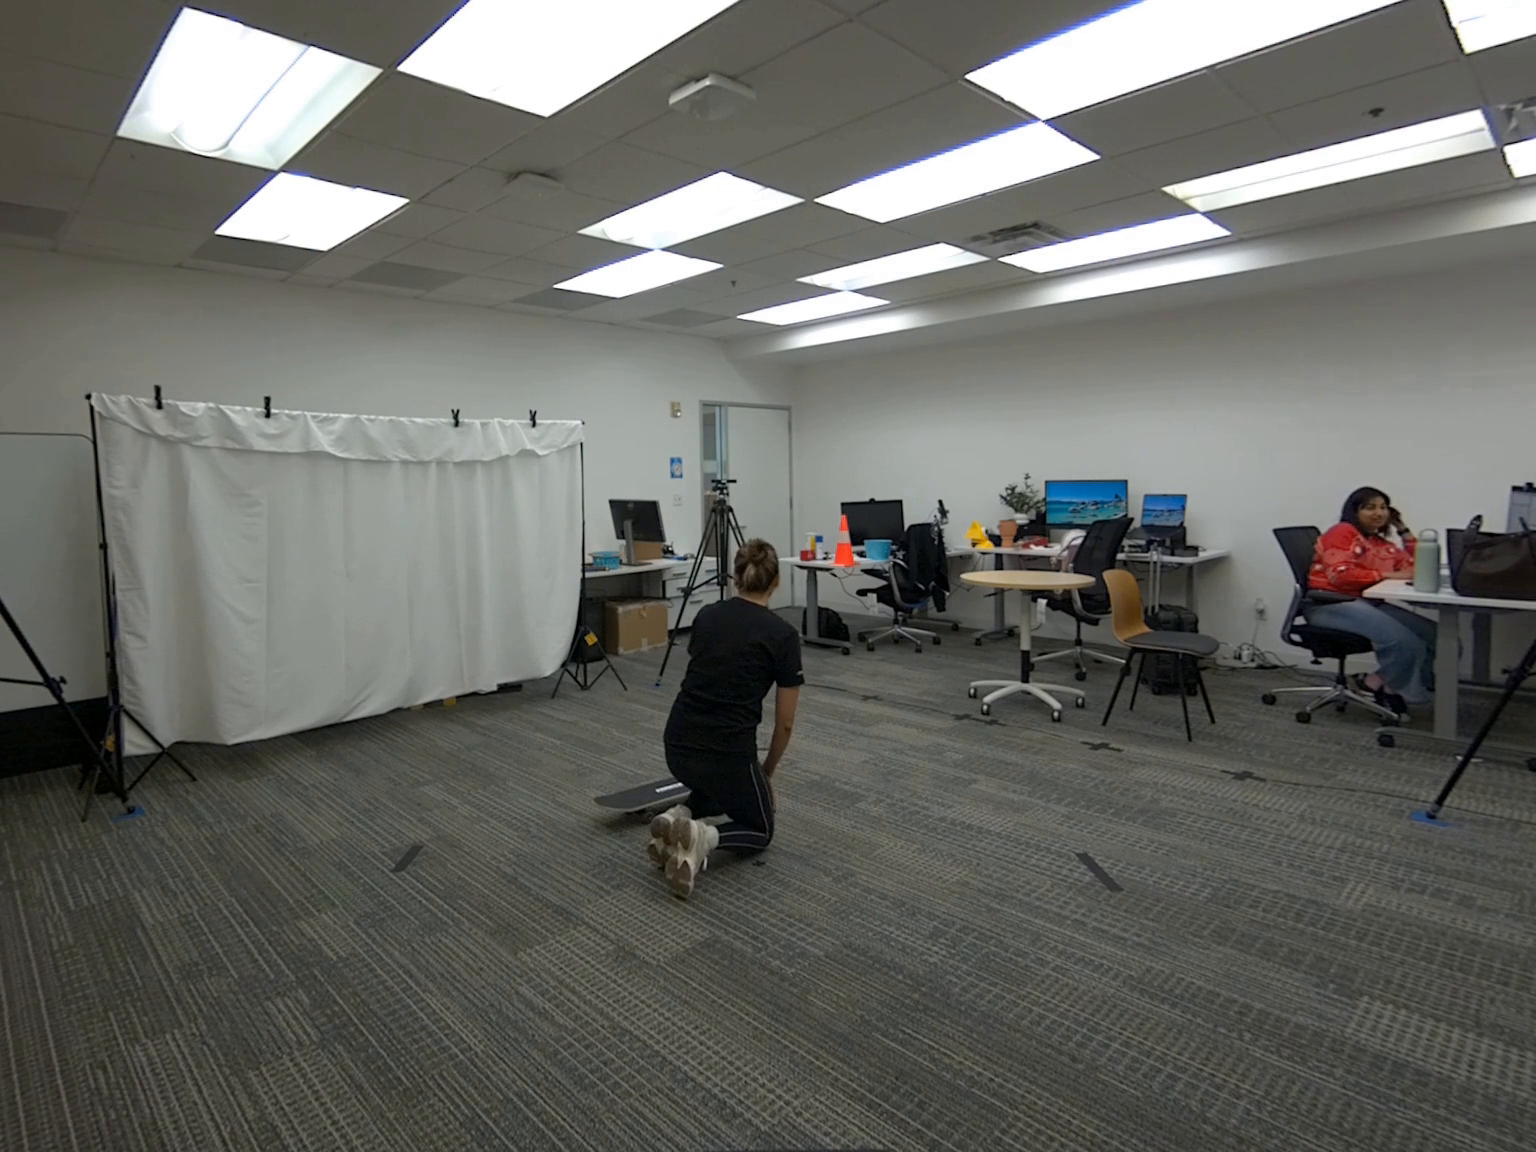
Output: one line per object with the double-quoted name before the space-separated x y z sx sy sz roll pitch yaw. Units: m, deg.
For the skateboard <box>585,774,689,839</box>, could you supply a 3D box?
"skateboard" -0.391 0.935 3.681 0.765 0.110 0.199 -6 7 -39
